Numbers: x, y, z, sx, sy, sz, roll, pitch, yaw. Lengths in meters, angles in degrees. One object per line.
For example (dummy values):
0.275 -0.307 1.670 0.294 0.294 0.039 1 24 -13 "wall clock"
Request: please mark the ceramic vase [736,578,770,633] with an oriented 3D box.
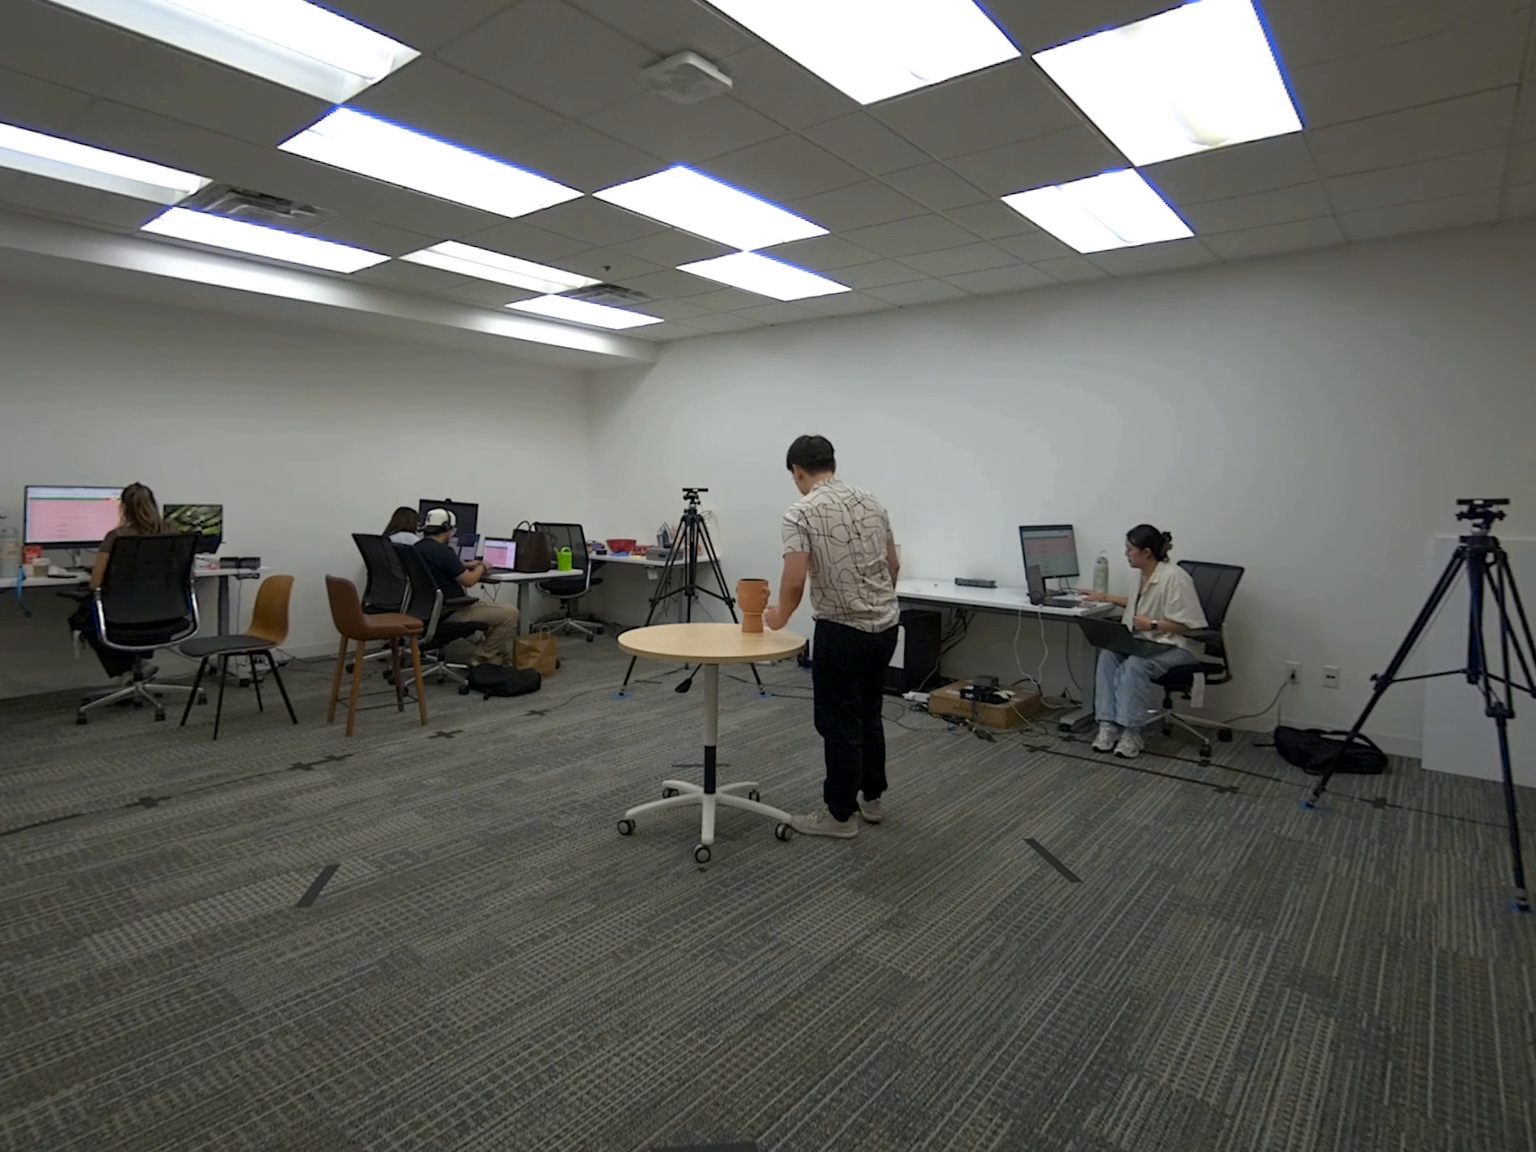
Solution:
-0.077 0.123 3.677 0.134 0.219 0.160 1 3 -6 "ceramic vase"
